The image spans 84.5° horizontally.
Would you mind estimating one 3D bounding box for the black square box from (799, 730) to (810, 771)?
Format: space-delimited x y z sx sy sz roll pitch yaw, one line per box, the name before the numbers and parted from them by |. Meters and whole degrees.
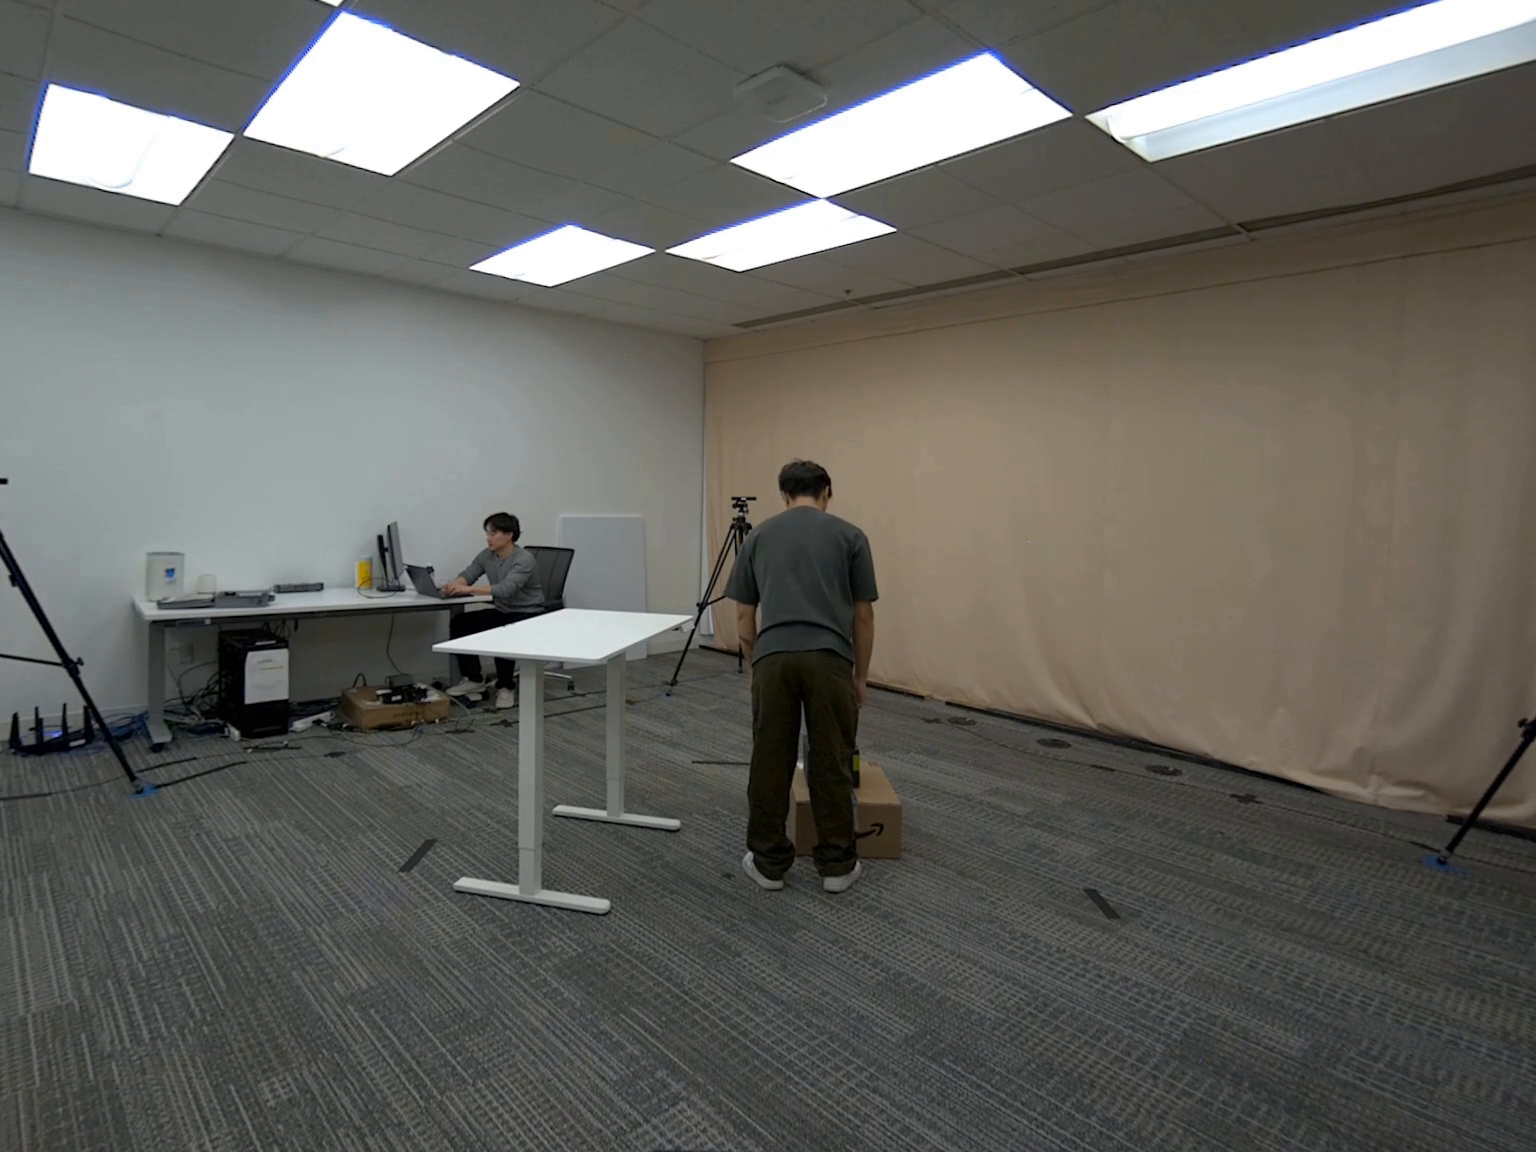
black square box | 0.264 0.778 3.557 0.217 0.155 0.228 0 3 -2
